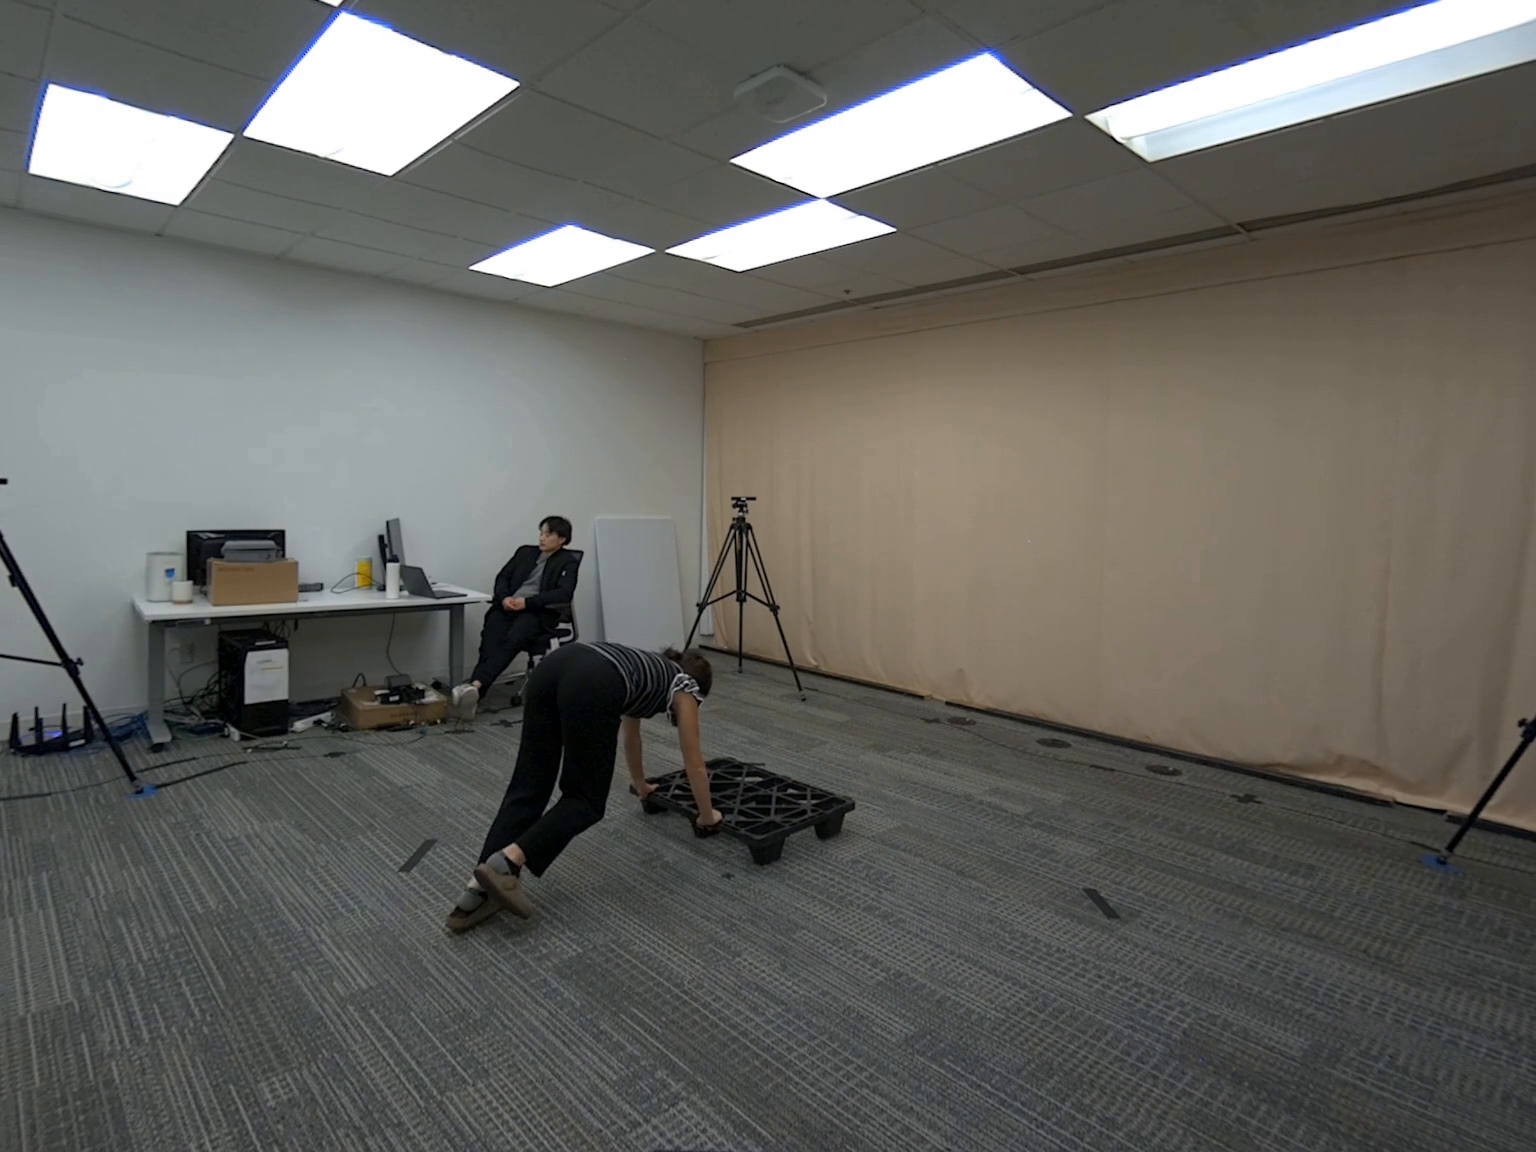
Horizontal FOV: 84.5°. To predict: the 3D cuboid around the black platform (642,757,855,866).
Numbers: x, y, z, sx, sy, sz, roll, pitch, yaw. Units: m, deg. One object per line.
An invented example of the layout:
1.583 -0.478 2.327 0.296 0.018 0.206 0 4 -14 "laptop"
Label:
-0.130 0.993 3.611 0.591 0.143 0.826 -4 7 -44 "black platform"
